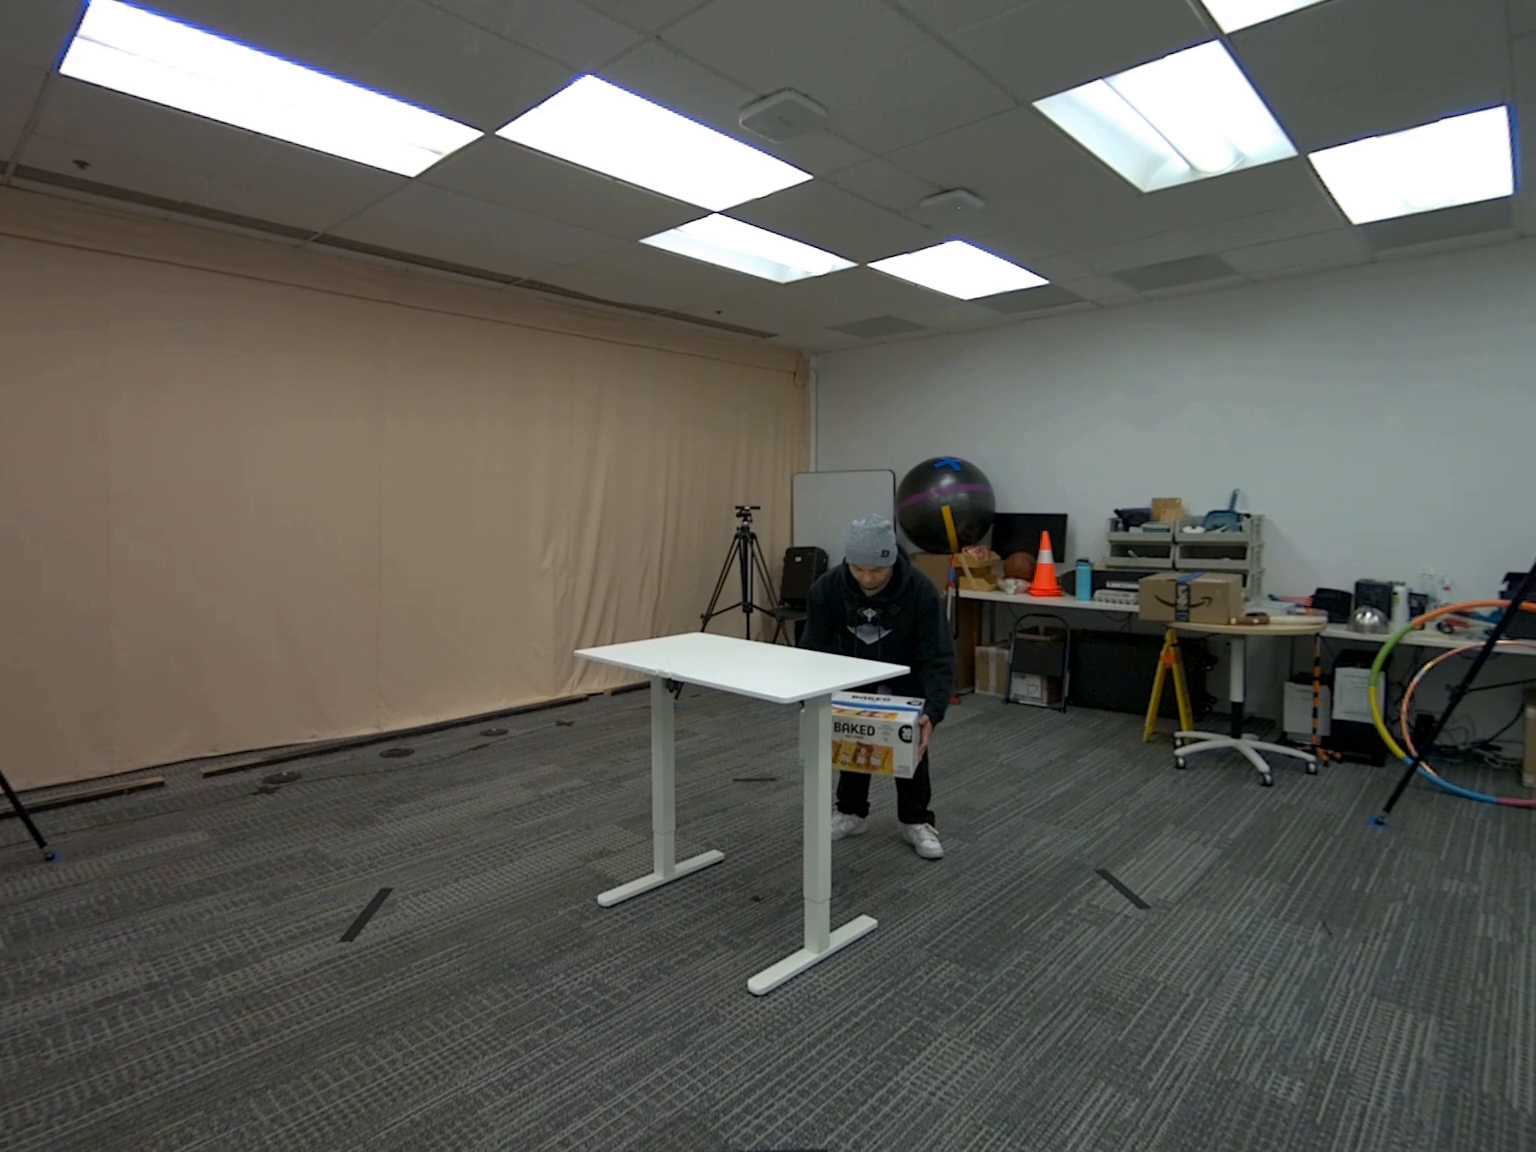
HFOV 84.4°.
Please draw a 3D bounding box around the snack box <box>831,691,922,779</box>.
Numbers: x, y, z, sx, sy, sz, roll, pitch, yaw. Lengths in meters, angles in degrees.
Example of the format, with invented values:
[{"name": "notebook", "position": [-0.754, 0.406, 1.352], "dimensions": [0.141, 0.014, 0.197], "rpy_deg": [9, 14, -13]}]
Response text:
[{"name": "snack box", "position": [0.361, 0.576, 3.138], "dimensions": [0.414, 0.205, 0.334], "rpy_deg": [2, 5, 19]}]
